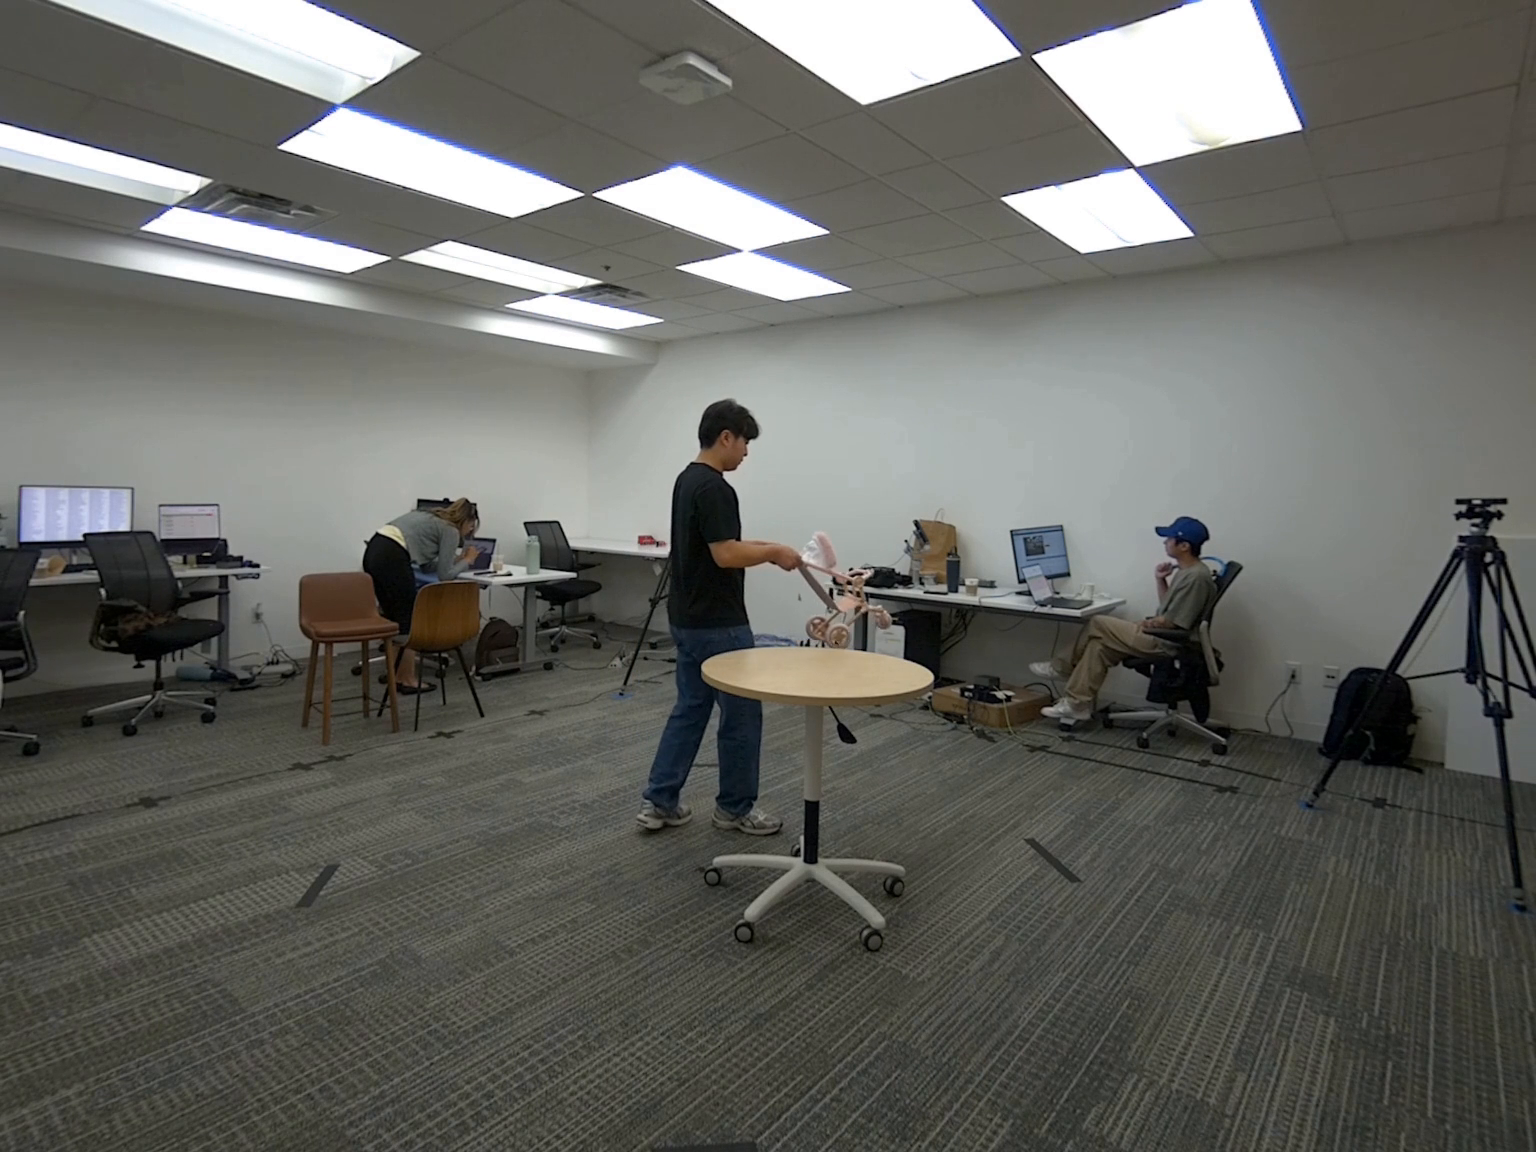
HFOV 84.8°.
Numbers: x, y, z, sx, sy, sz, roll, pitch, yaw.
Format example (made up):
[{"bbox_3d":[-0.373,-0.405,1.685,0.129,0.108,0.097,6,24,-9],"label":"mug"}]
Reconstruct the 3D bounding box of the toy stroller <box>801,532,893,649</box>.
[{"bbox_3d":[0.268,0.048,3.527,0.340,0.530,0.285,-28,8,-6],"label":"toy stroller"}]
